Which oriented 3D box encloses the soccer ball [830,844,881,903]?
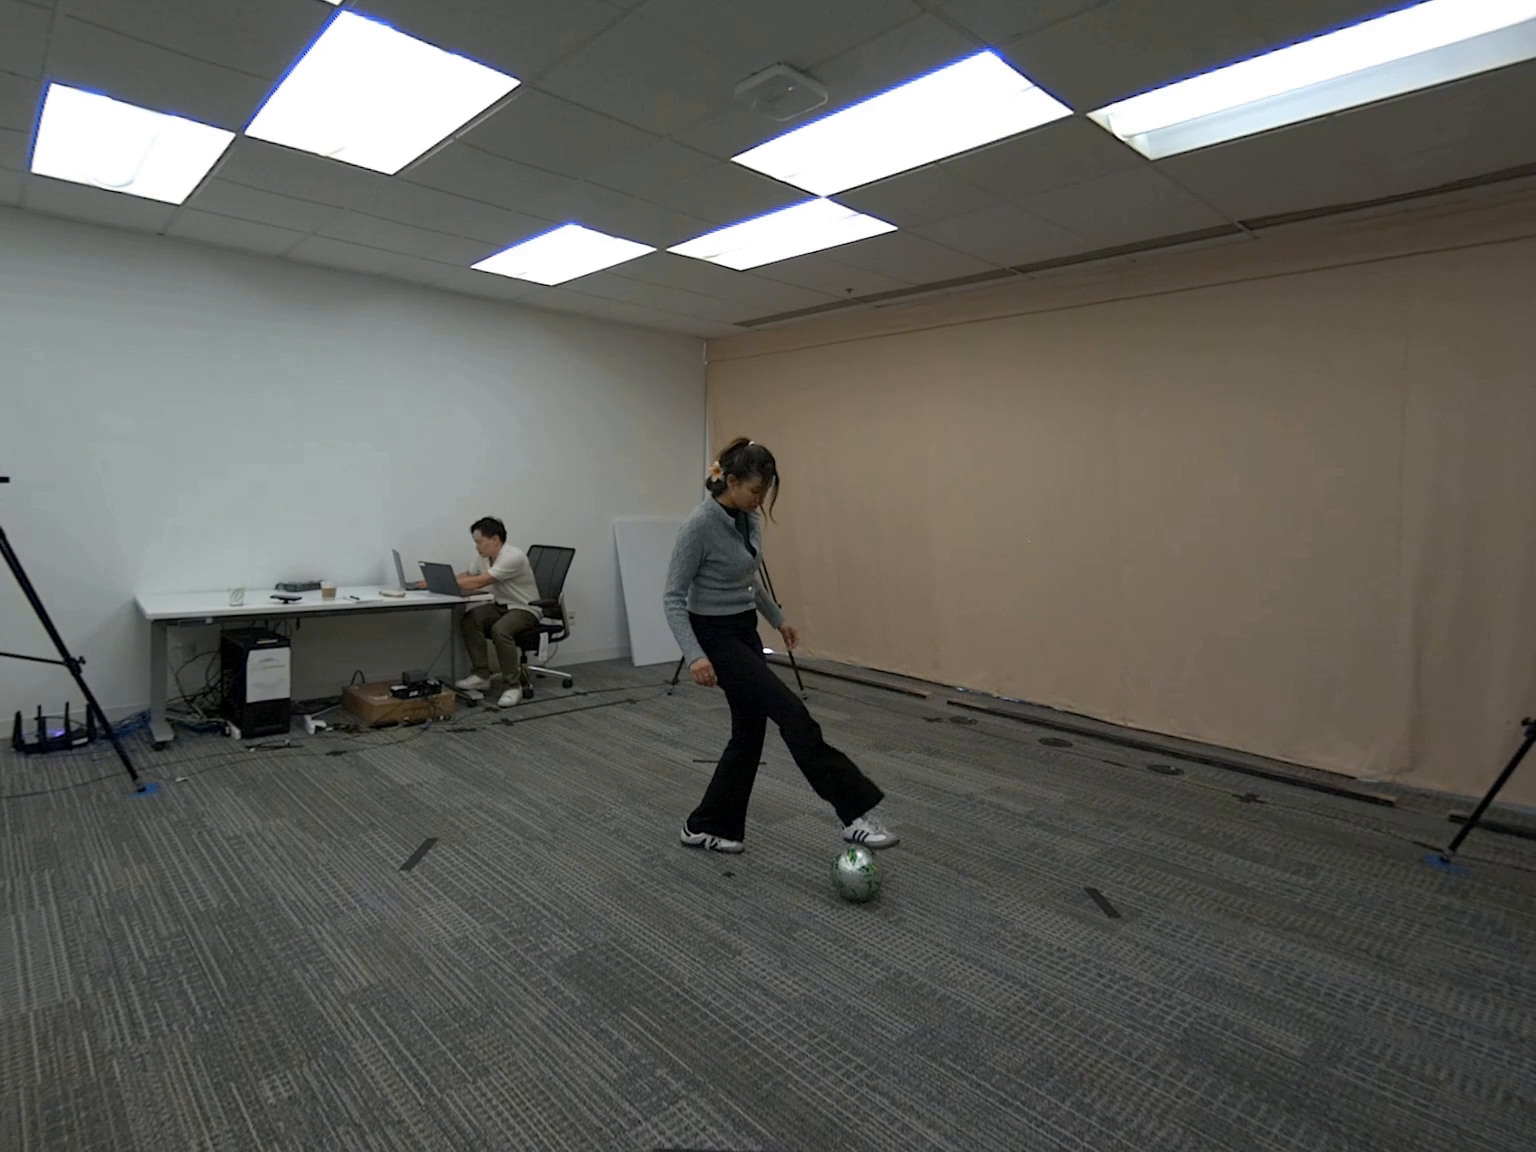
[{"bbox_3d":[0.273,1.035,2.958,0.187,0.187,0.188,1,4,-1],"label":"soccer ball"}]
